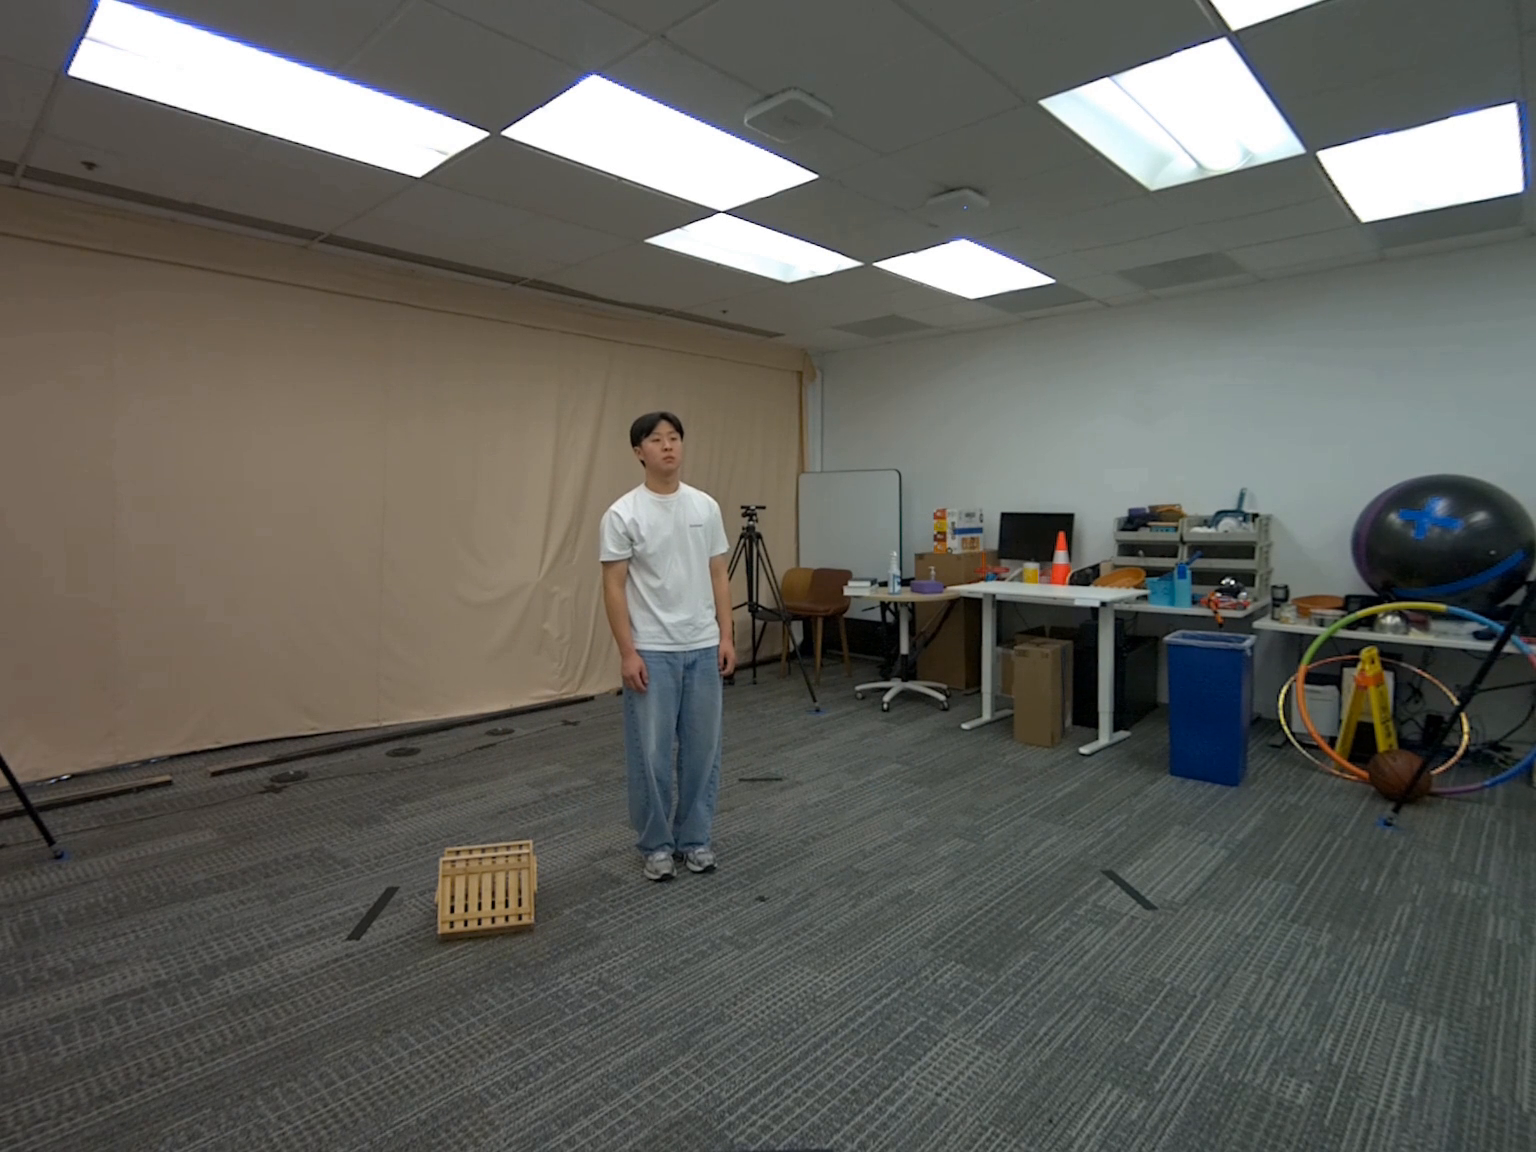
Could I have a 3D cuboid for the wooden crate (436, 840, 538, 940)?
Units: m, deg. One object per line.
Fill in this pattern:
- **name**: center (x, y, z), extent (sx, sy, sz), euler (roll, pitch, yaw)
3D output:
- **wooden crate**: center (-0.959, 1.073, 2.875), extent (0.320, 0.307, 0.272), euler (-1, -24, -14)
